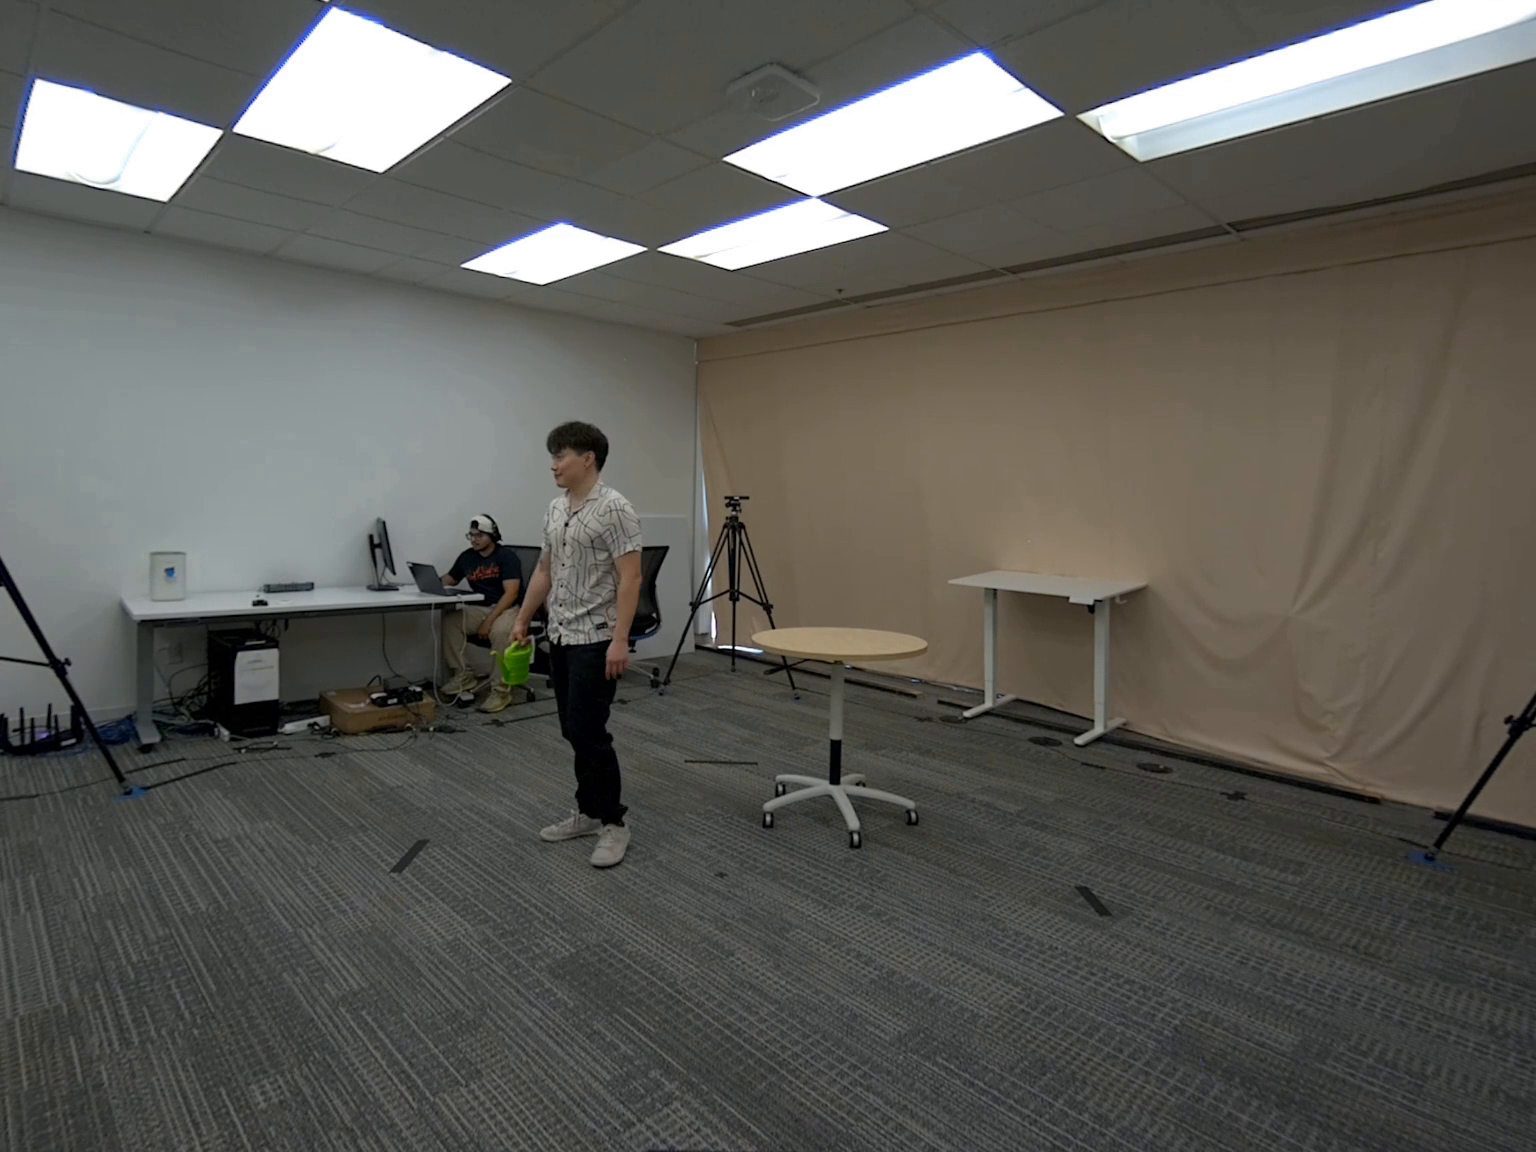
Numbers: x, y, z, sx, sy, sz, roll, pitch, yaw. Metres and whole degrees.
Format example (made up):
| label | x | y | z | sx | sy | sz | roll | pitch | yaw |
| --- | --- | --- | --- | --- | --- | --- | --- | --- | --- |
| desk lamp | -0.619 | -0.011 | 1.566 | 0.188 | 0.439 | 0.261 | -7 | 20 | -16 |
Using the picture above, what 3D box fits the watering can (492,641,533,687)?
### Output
| label | x | y | z | sx | sy | sz | roll | pitch | yaw |
| --- | --- | --- | --- | --- | --- | --- | --- | --- | --- |
| watering can | -1.062 | 0.353 | 3.458 | 0.101 | 0.175 | 0.273 | 17 | 15 | 33 |
